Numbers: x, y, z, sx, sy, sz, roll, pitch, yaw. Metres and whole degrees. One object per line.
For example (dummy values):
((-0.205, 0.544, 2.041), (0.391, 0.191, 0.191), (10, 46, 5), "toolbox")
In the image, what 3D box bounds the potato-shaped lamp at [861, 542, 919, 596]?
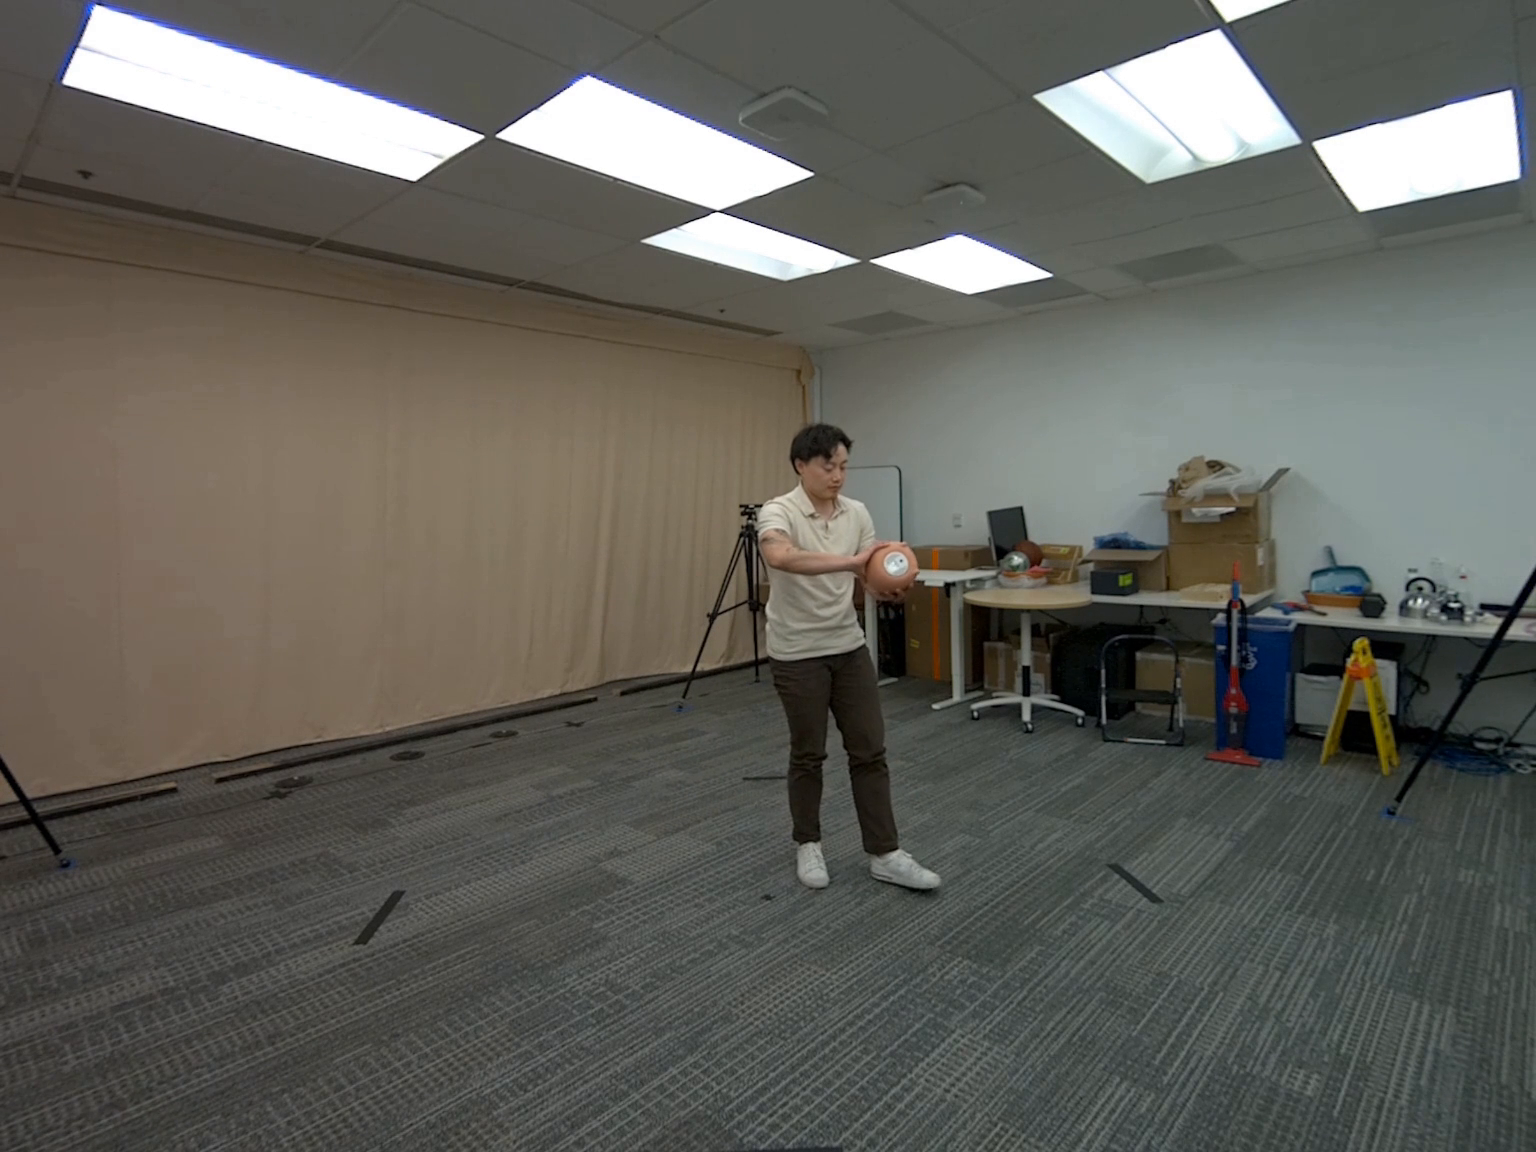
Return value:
((0.410, -0.024, 2.833), (0.171, 0.166, 0.196), (-24, -10, -3), "potato-shaped lamp")
